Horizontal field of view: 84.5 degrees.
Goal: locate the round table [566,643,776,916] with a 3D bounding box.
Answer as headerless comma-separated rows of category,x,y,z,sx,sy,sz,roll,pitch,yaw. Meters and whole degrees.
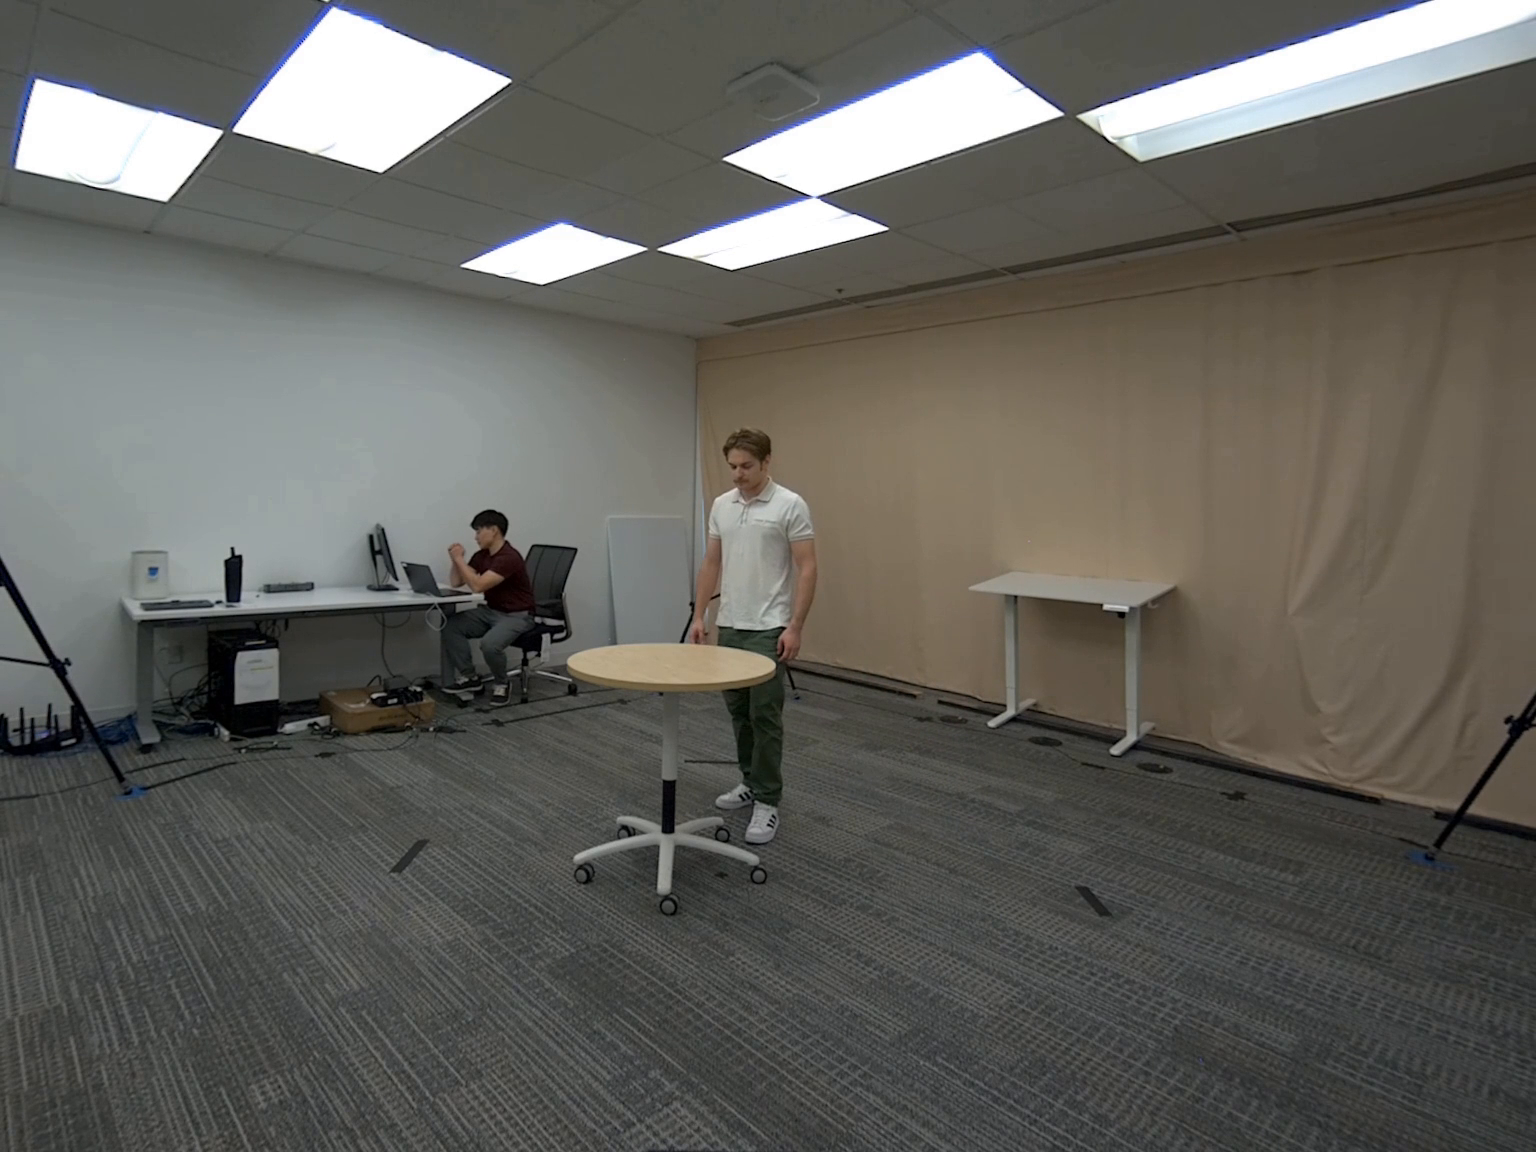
round table,-0.385,0.703,3.122,0.784,0.785,0.787,2,4,-1
